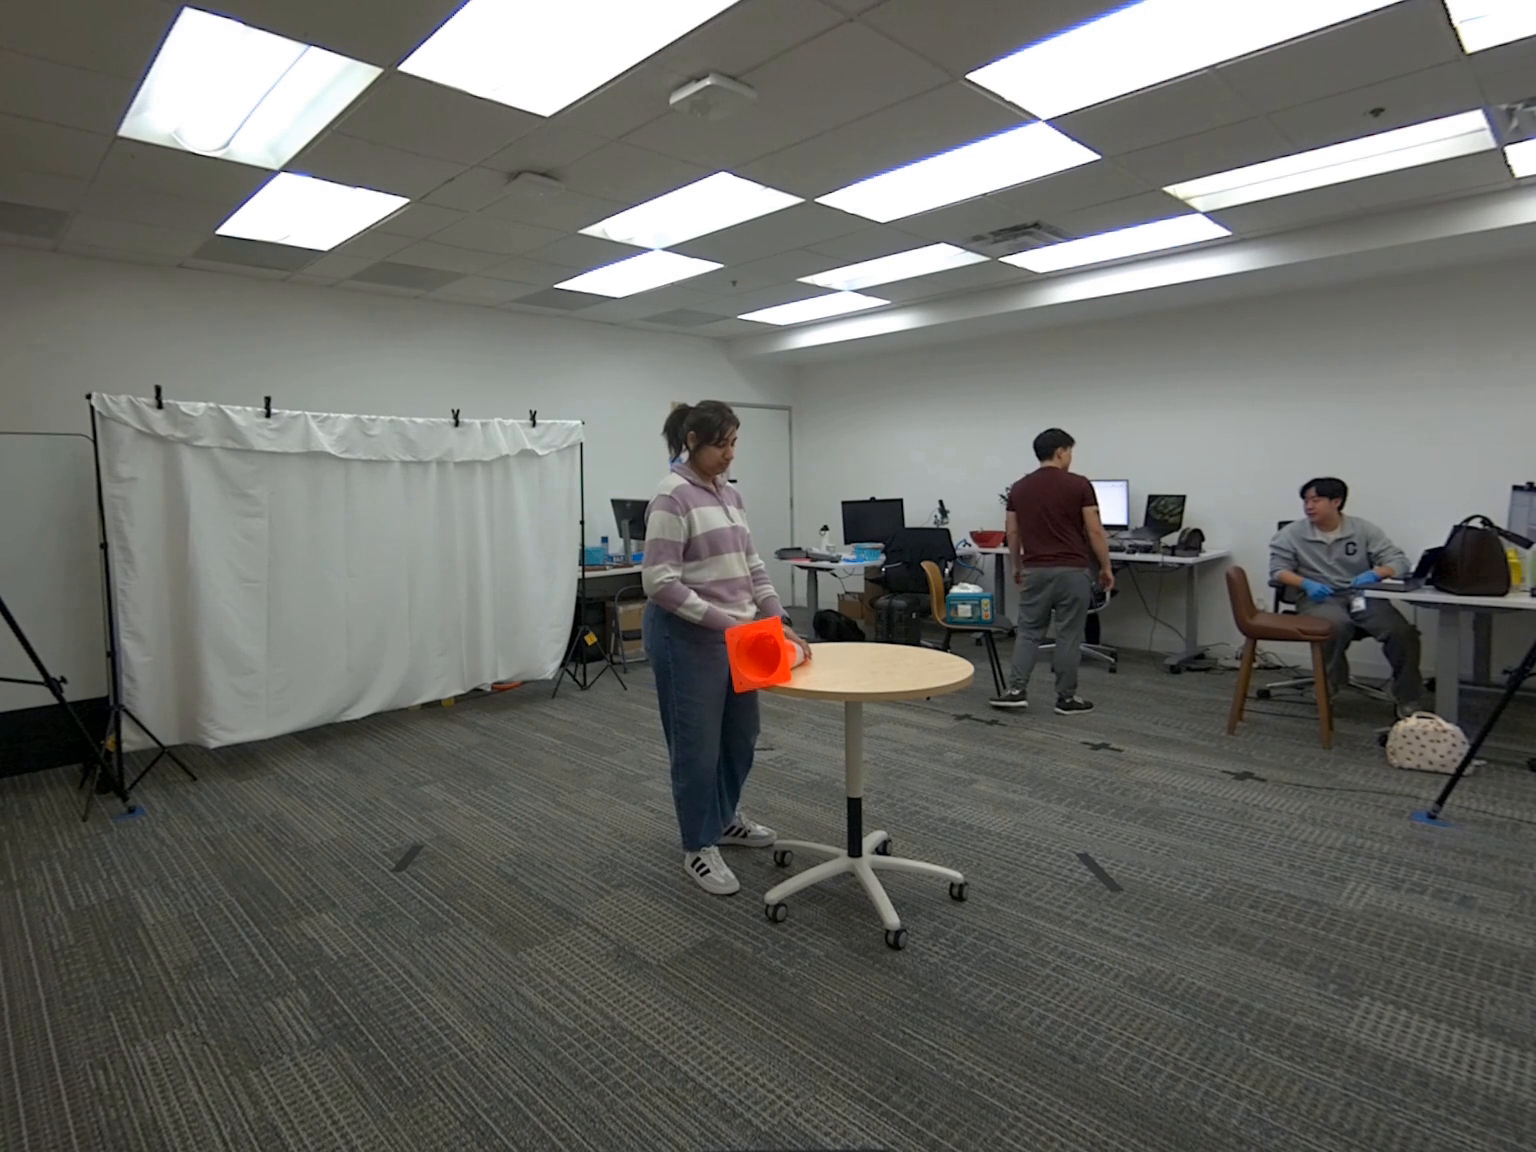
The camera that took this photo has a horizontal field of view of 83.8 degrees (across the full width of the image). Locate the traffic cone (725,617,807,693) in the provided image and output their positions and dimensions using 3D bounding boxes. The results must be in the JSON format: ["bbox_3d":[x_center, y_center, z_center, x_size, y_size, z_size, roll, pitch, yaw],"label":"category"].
[{"bbox_3d":[0.061,0.260,2.745,0.206,0.208,0.372,-17,-15,27],"label":"traffic cone"}]
